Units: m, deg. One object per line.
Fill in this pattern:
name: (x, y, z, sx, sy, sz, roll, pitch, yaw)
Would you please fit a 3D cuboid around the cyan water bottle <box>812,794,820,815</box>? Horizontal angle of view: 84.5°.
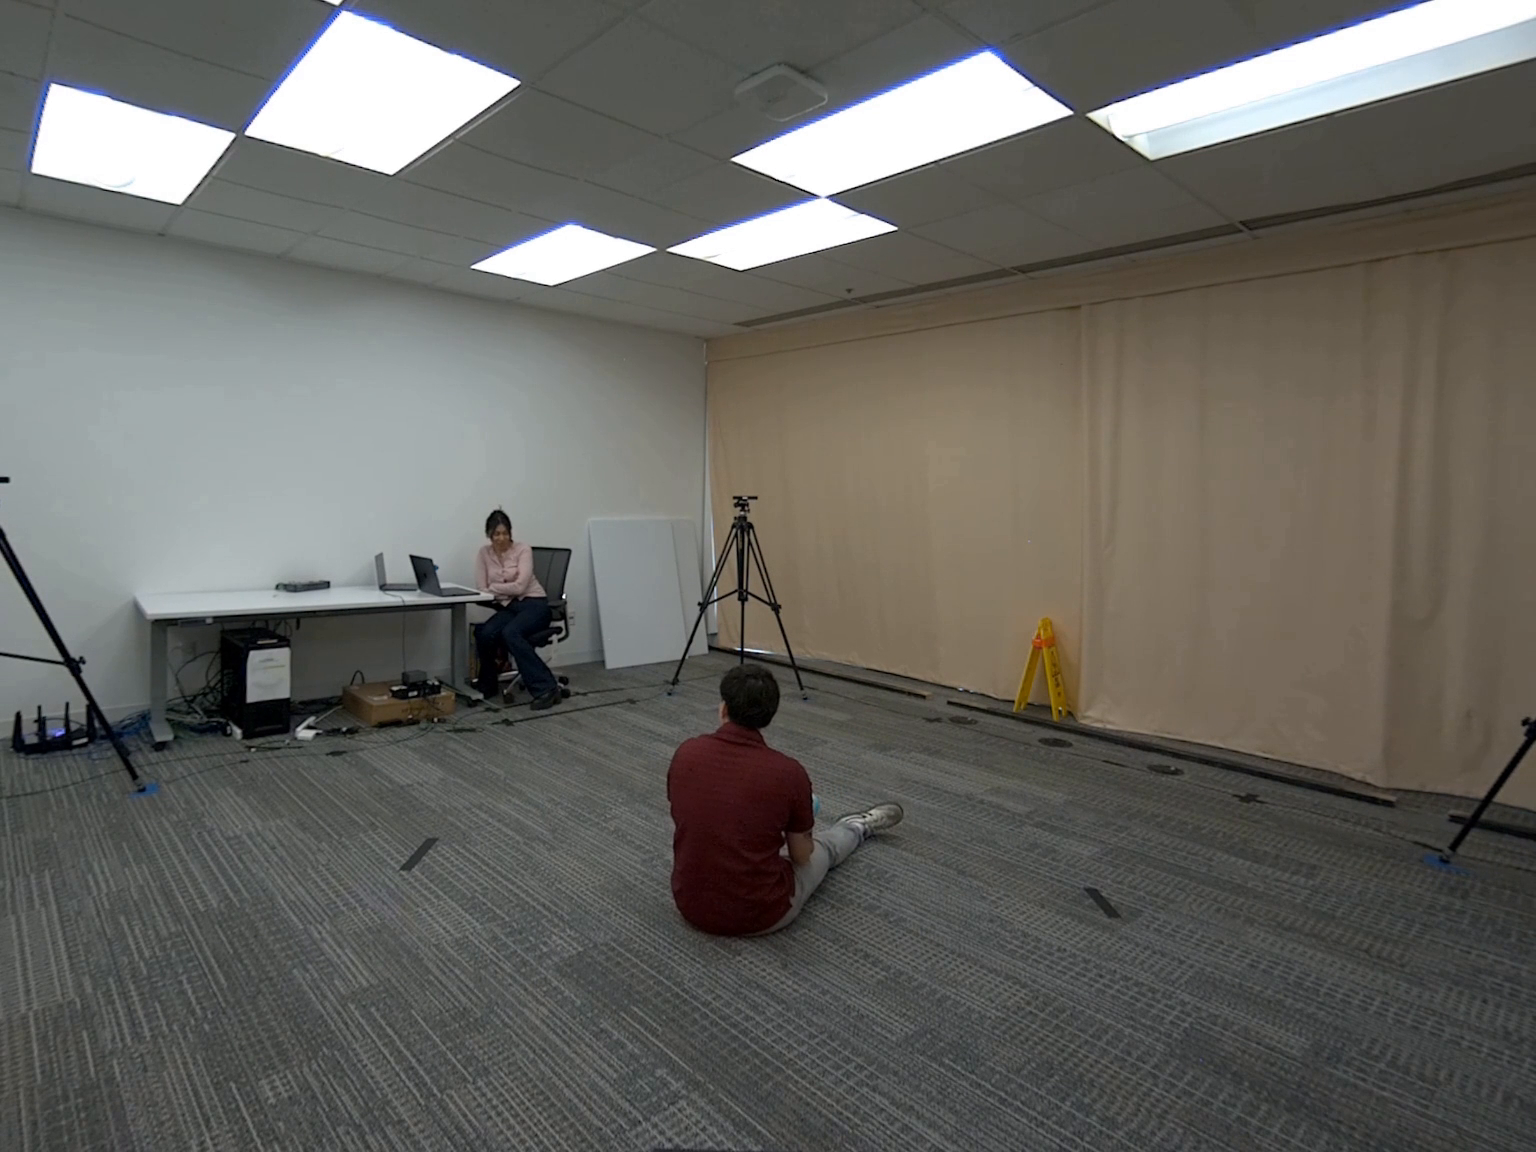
cyan water bottle: (0.088, 0.902, 3.130, 0.094, 0.092, 0.279, 4, 9, 29)
